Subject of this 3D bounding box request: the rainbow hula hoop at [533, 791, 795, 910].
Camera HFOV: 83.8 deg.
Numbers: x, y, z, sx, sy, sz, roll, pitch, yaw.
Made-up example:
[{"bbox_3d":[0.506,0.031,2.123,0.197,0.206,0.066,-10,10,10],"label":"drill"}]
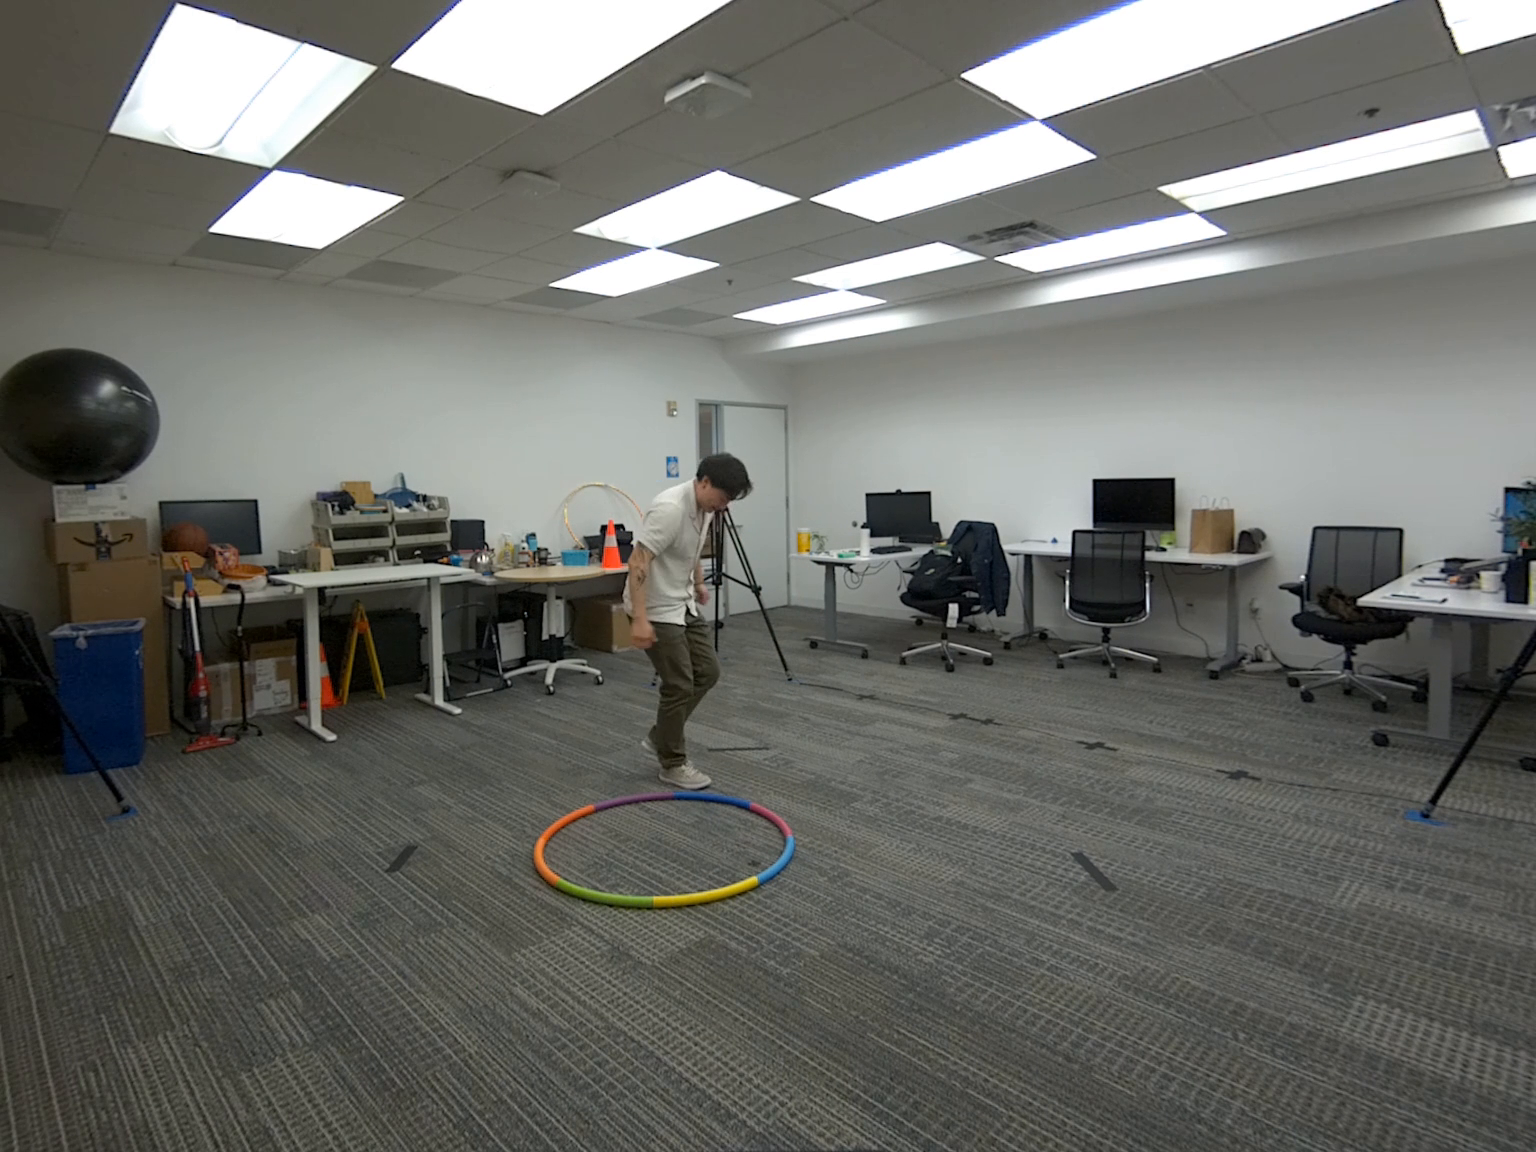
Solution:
[{"bbox_3d":[-0.388,1.001,3.275,0.978,0.035,0.984,-1,6,-2],"label":"rainbow hula hoop"}]
